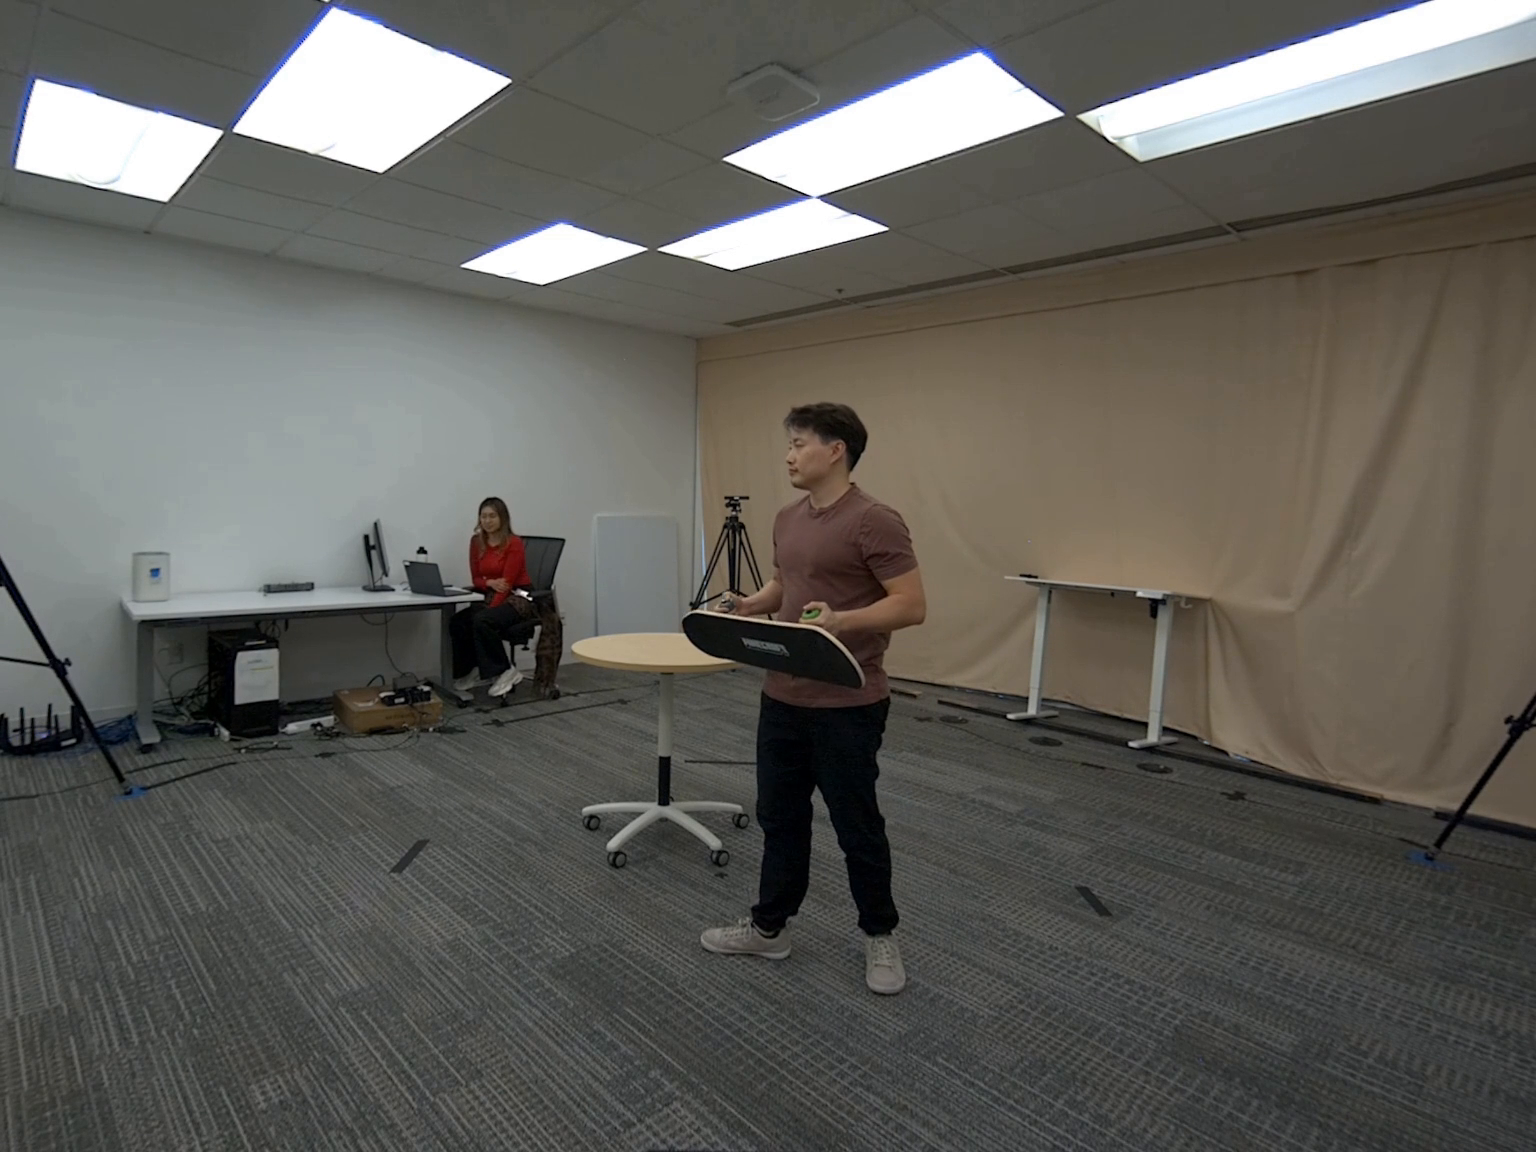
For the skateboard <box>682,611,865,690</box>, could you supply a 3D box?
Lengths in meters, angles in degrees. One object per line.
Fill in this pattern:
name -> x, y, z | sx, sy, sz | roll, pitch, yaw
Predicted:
skateboard -> -0.002, 0.177, 2.354 | 0.110, 0.189, 0.803 | -42, 24, -25
